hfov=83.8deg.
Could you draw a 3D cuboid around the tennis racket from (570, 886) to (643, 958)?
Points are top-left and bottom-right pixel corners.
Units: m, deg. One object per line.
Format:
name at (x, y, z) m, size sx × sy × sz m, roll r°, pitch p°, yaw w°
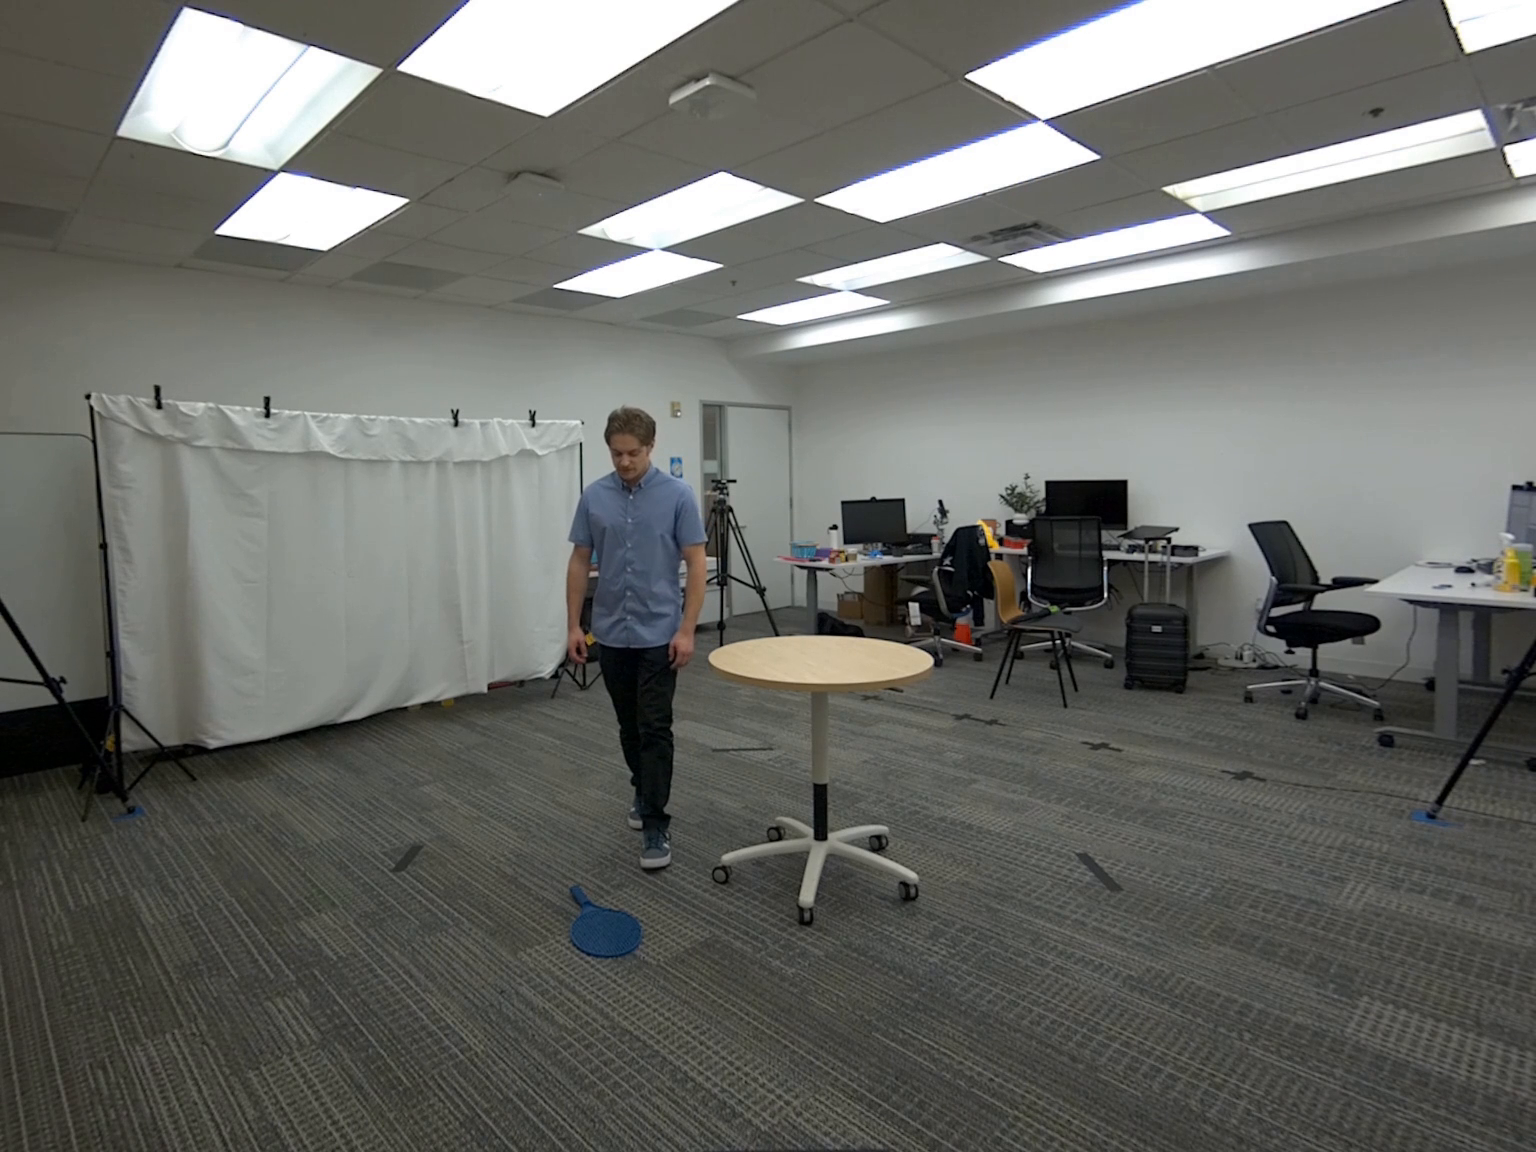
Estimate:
tennis racket at (-0.540, 1.094, 2.712) m, size 0.209 × 0.031 × 0.446 m, roll -6°, pitch 9°, yaw -31°
